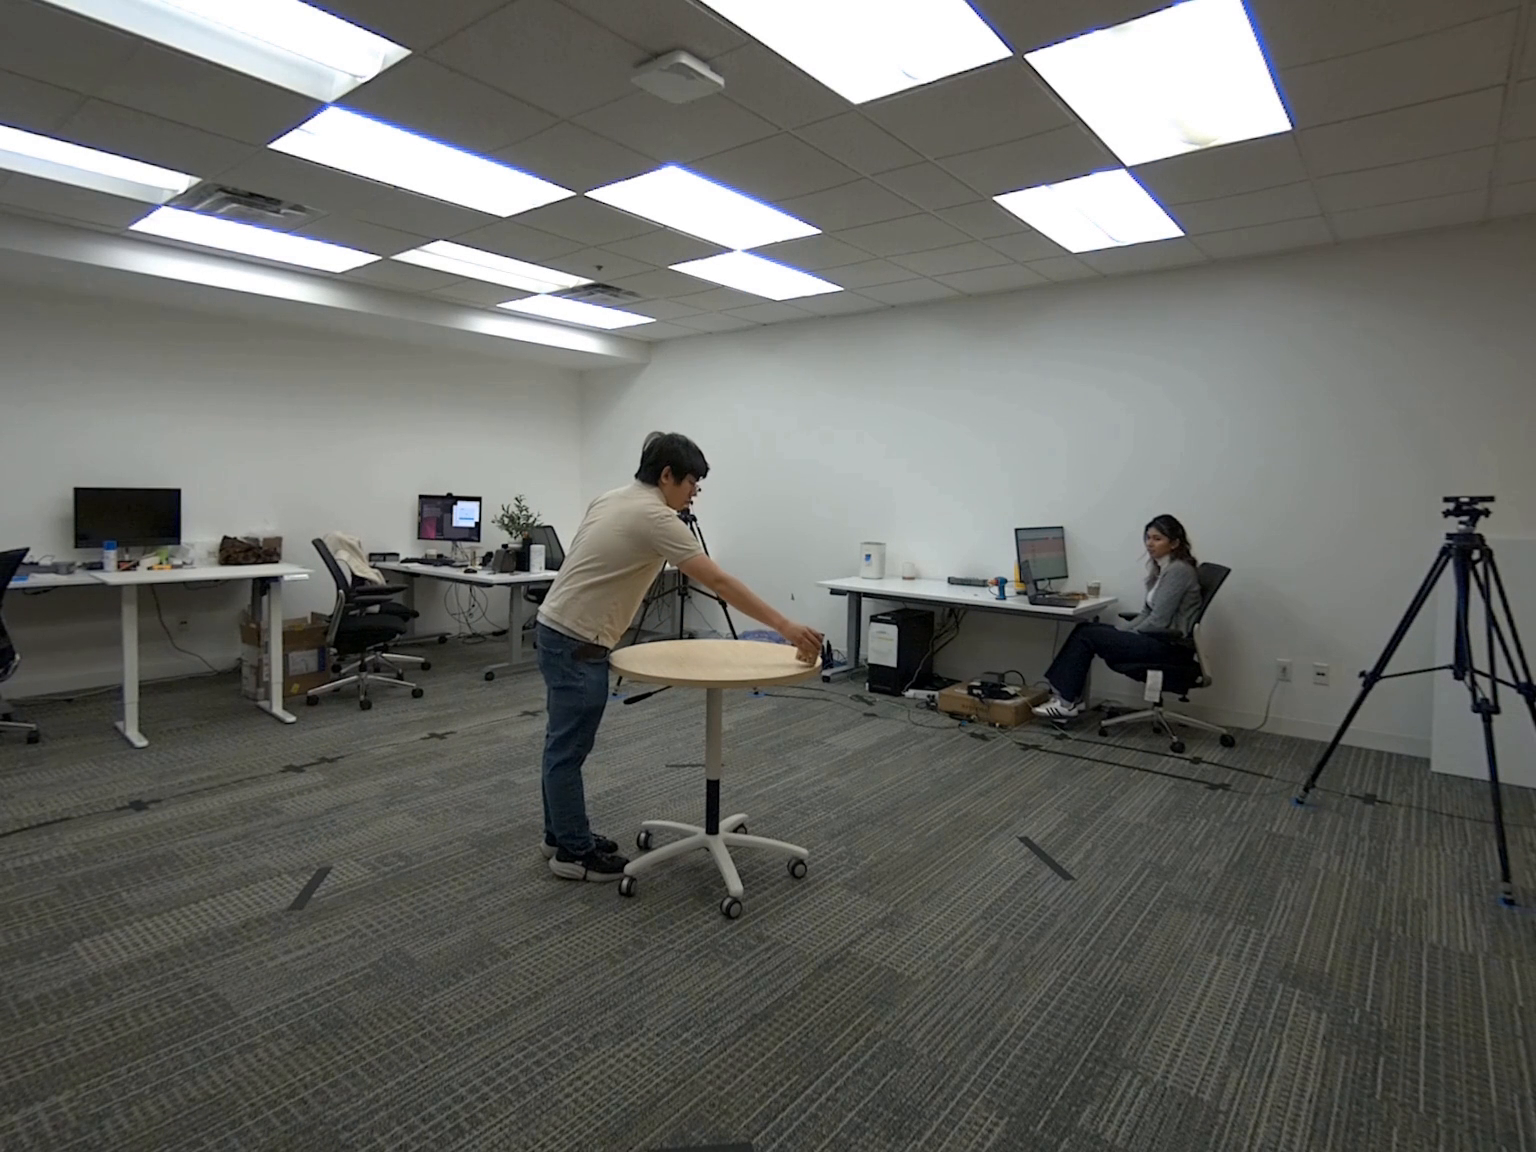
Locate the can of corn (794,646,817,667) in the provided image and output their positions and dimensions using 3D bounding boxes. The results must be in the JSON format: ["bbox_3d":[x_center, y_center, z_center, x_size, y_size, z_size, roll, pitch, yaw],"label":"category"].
[{"bbox_3d":[0.134,0.236,2.920,0.074,0.111,0.074,13,-1,-2],"label":"can of corn"}]
